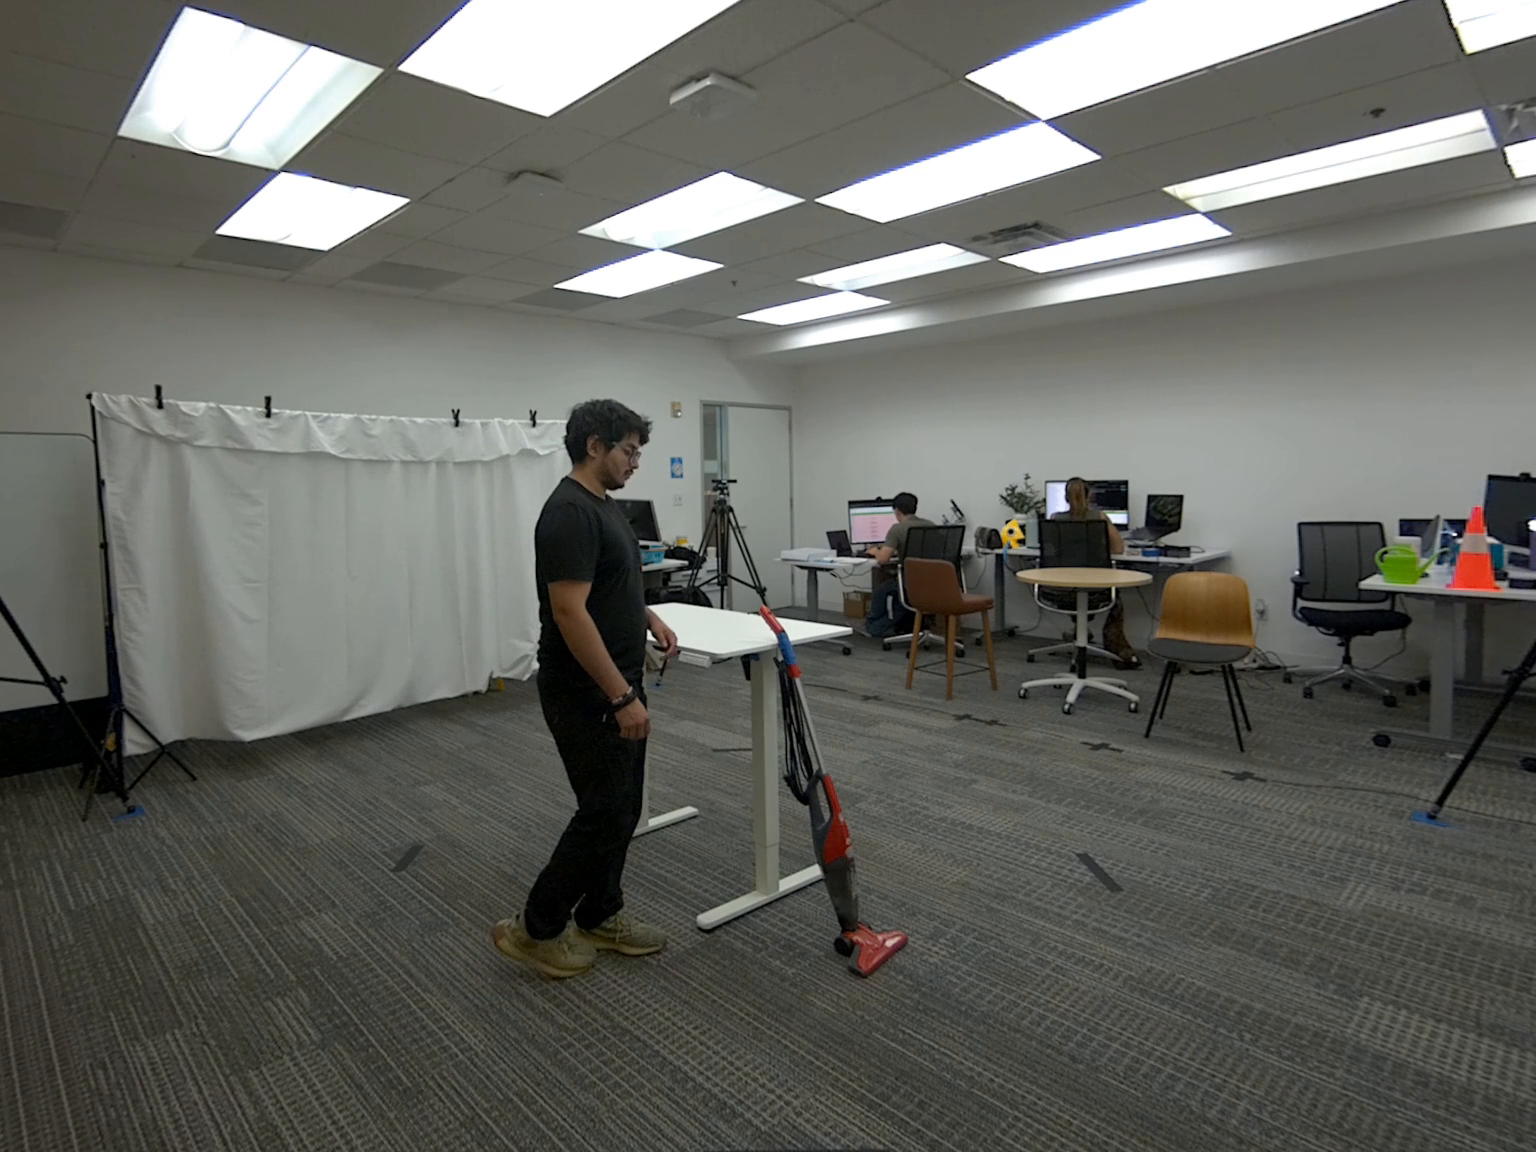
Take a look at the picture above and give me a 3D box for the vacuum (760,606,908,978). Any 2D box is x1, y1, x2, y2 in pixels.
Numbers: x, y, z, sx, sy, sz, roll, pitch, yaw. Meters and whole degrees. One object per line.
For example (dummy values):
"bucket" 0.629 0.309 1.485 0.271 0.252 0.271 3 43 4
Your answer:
"vacuum" 0.144 0.605 2.603 0.146 1.060 0.246 -23 -11 34
